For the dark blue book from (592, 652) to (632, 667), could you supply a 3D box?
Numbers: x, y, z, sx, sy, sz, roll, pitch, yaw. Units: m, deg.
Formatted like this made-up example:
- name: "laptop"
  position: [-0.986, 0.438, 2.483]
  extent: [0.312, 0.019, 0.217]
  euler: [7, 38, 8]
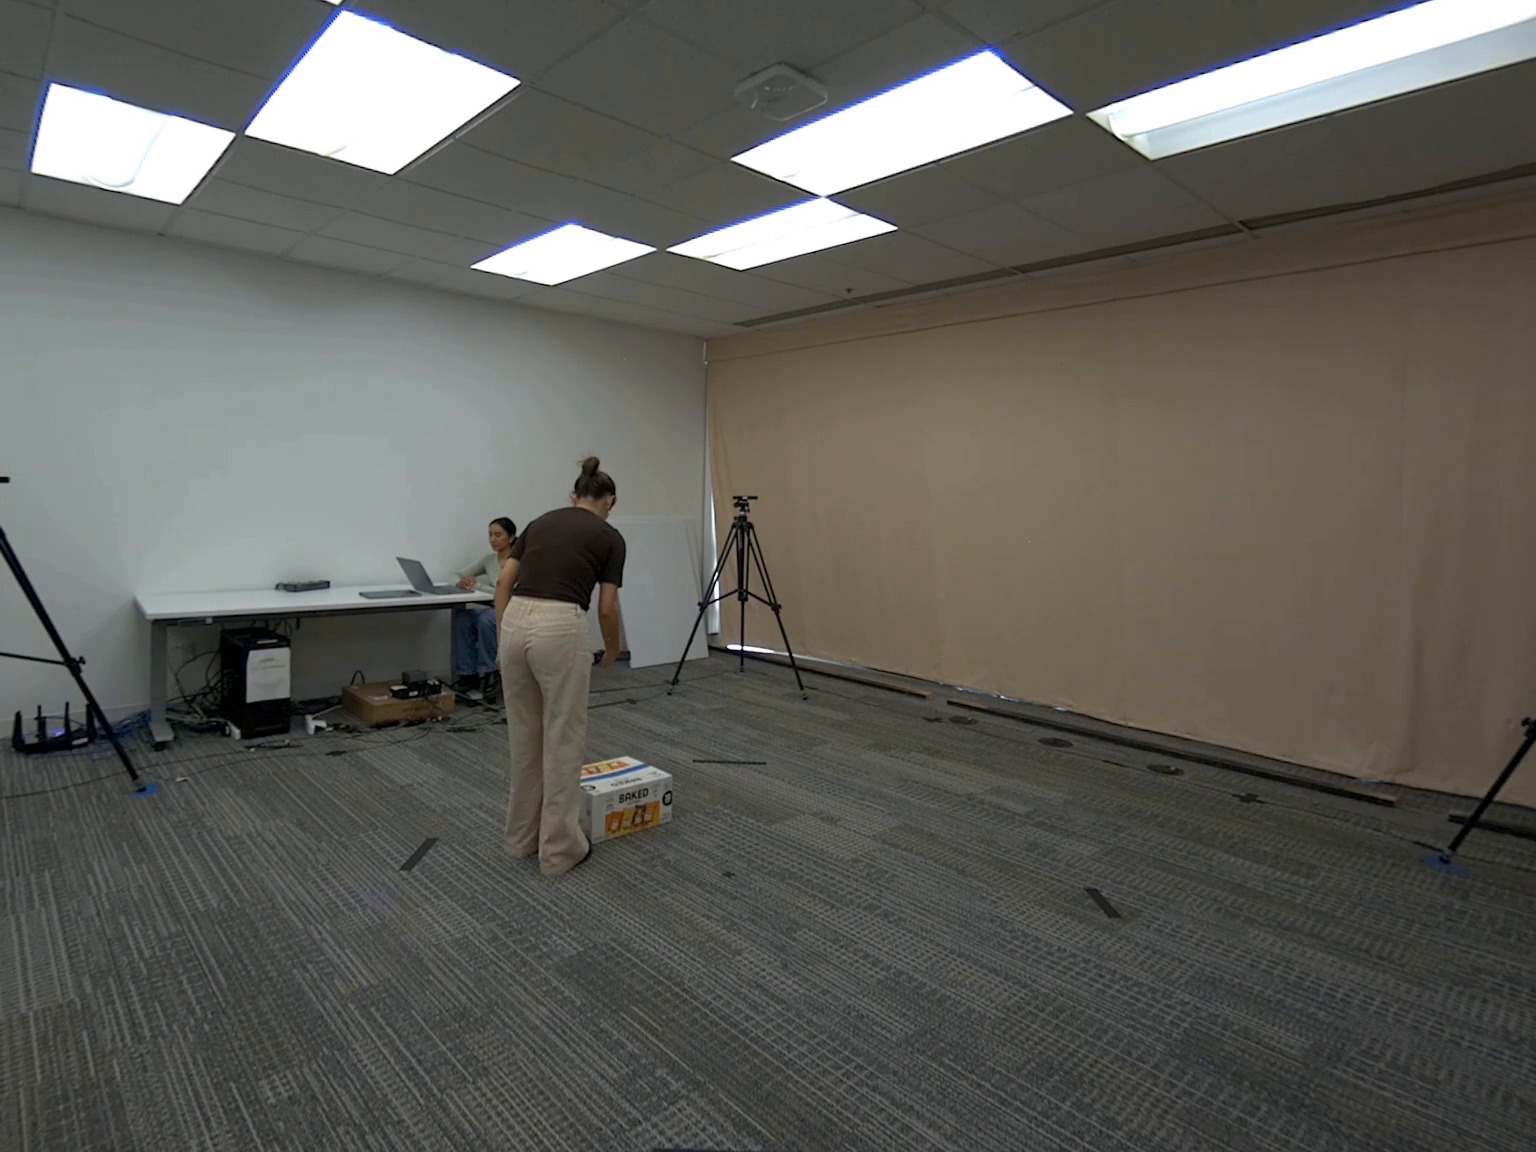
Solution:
- name: "dark blue book"
  position: [-0.701, 0.340, 3.469]
  extent: [0.166, 0.045, 0.239]
  euler: [-5, -5, 29]
